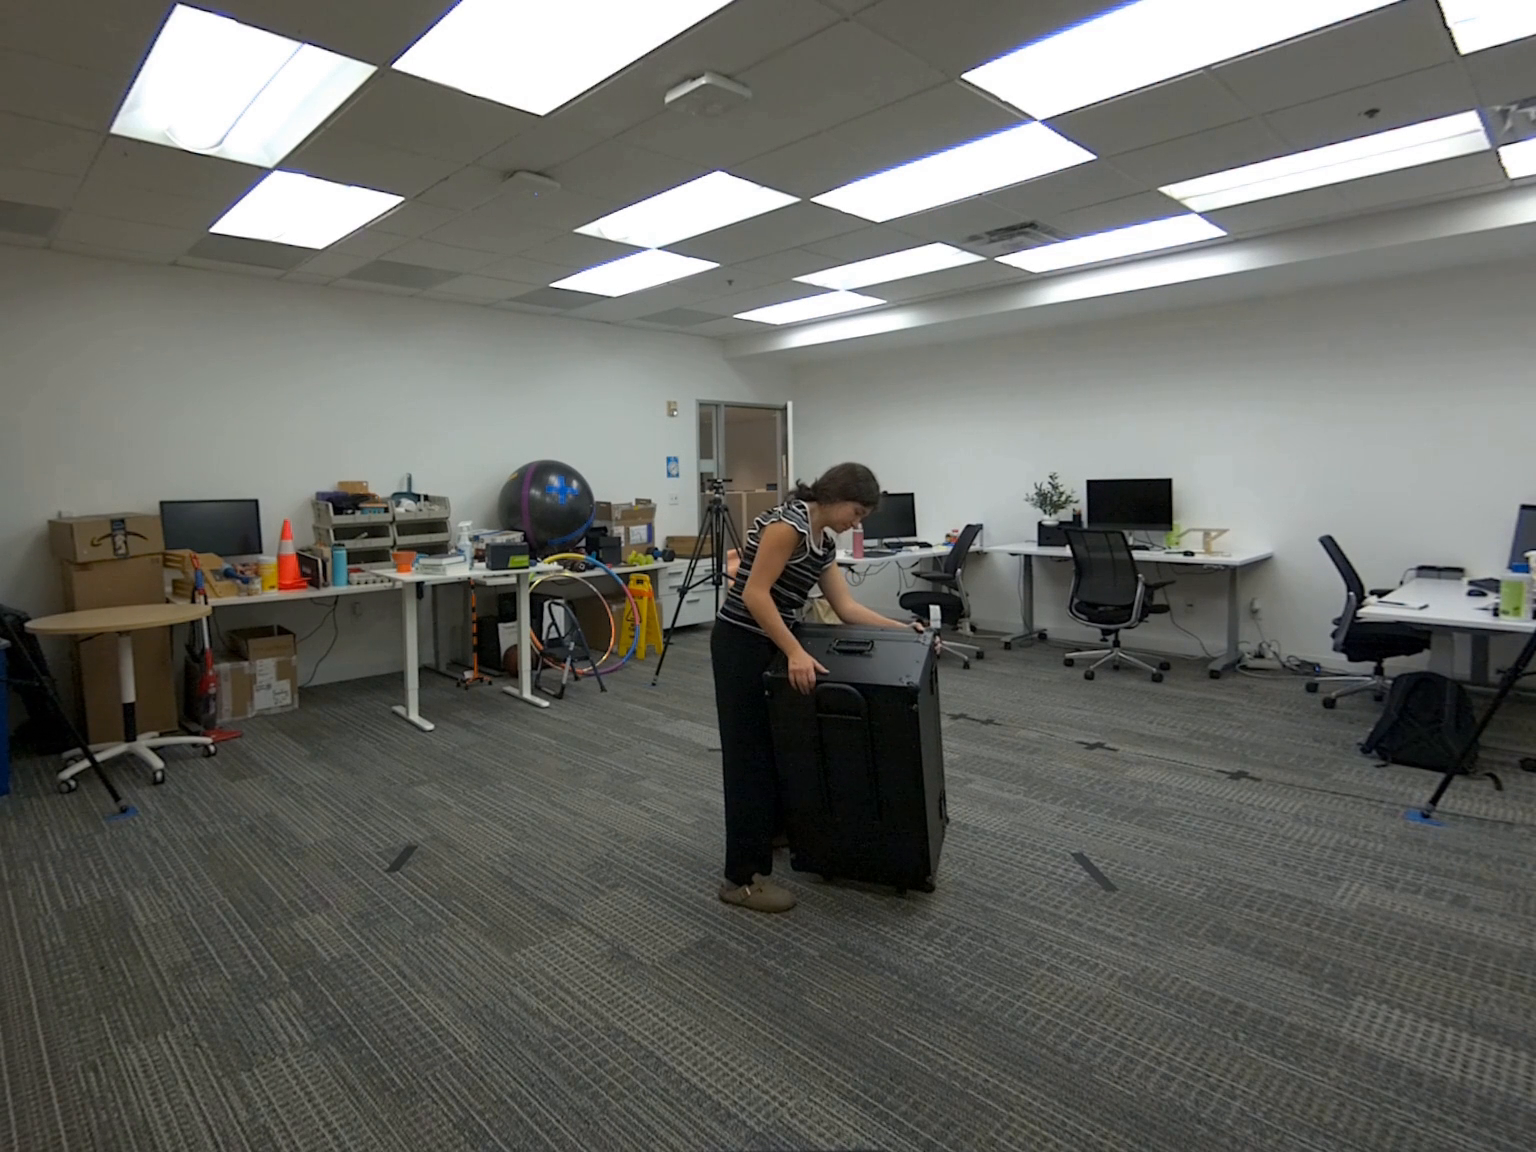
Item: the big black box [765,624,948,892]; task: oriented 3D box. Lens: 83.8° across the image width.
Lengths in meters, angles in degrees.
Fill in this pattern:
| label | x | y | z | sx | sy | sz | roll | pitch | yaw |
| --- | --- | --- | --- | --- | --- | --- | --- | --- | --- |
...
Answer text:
| label | x | y | z | sx | sy | sz | roll | pitch | yaw |
| --- | --- | --- | --- | --- | --- | --- | --- | --- | --- |
| big black box | 0.323 | 0.631 | 2.855 | 0.532 | 0.843 | 0.397 | 1 | 24 | 21 |
